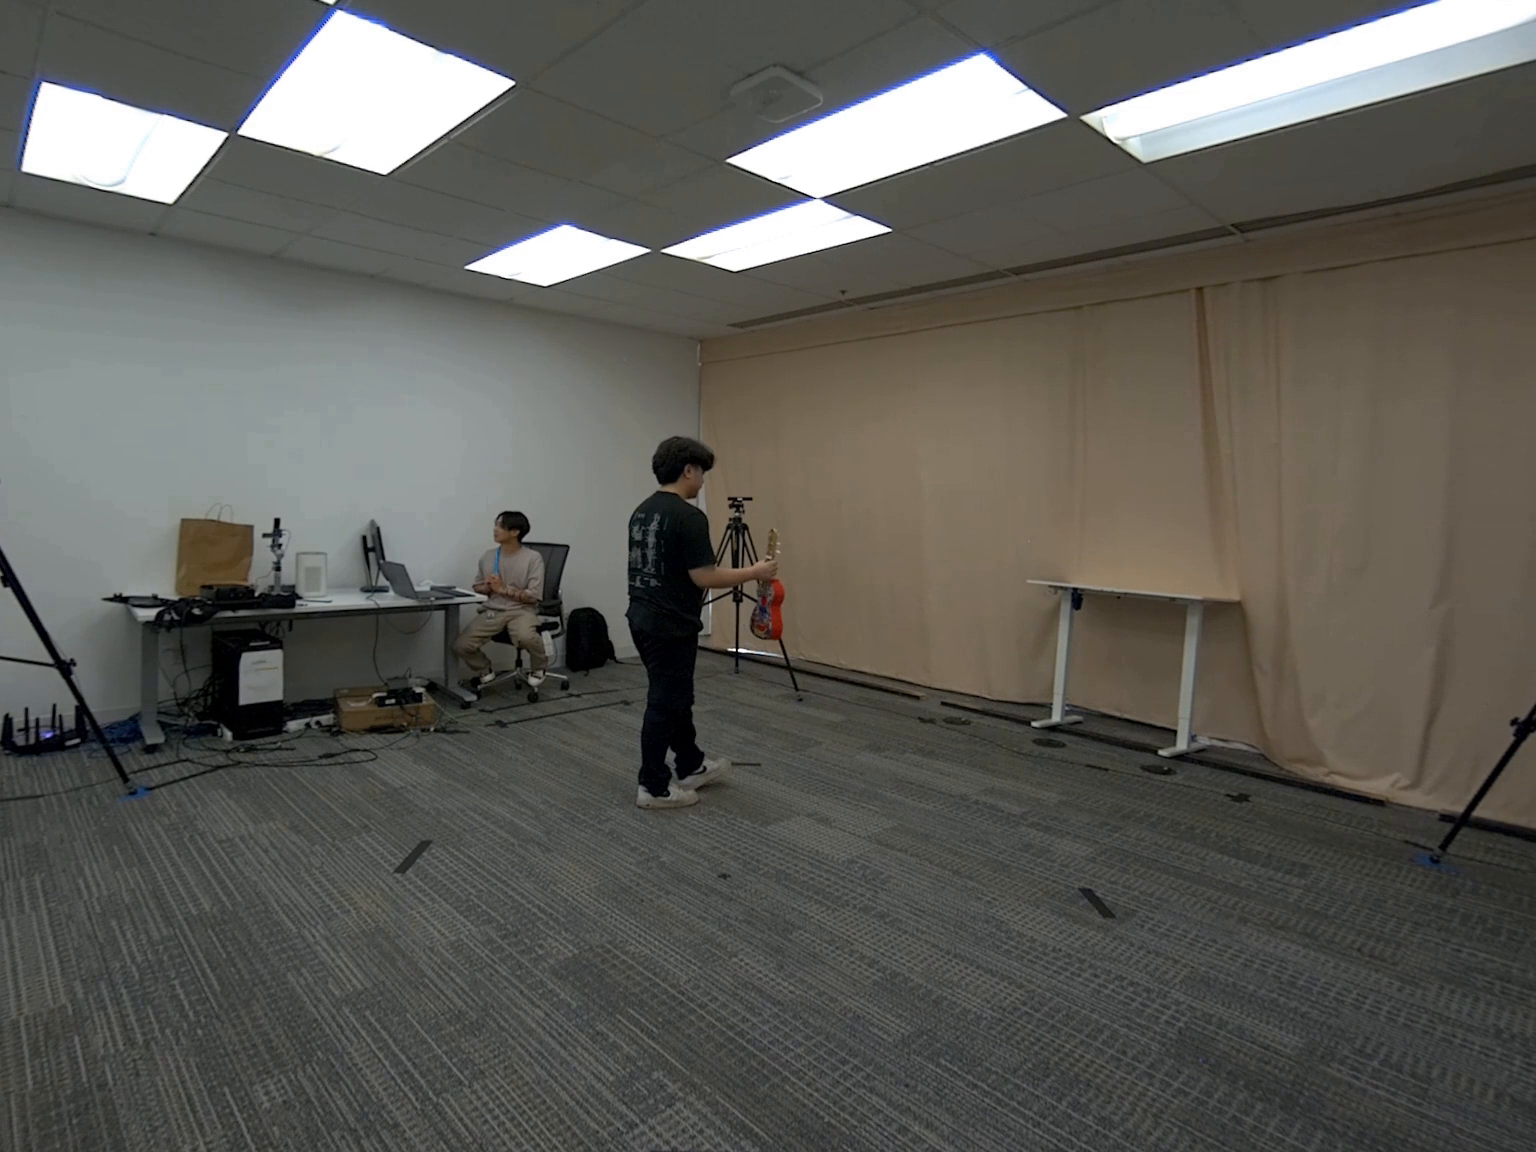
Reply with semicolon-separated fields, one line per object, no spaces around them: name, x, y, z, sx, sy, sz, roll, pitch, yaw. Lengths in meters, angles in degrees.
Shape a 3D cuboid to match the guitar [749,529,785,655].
guitar;0.015;0.045;3.775;0.069;0.494;0.198;5;14;-30
